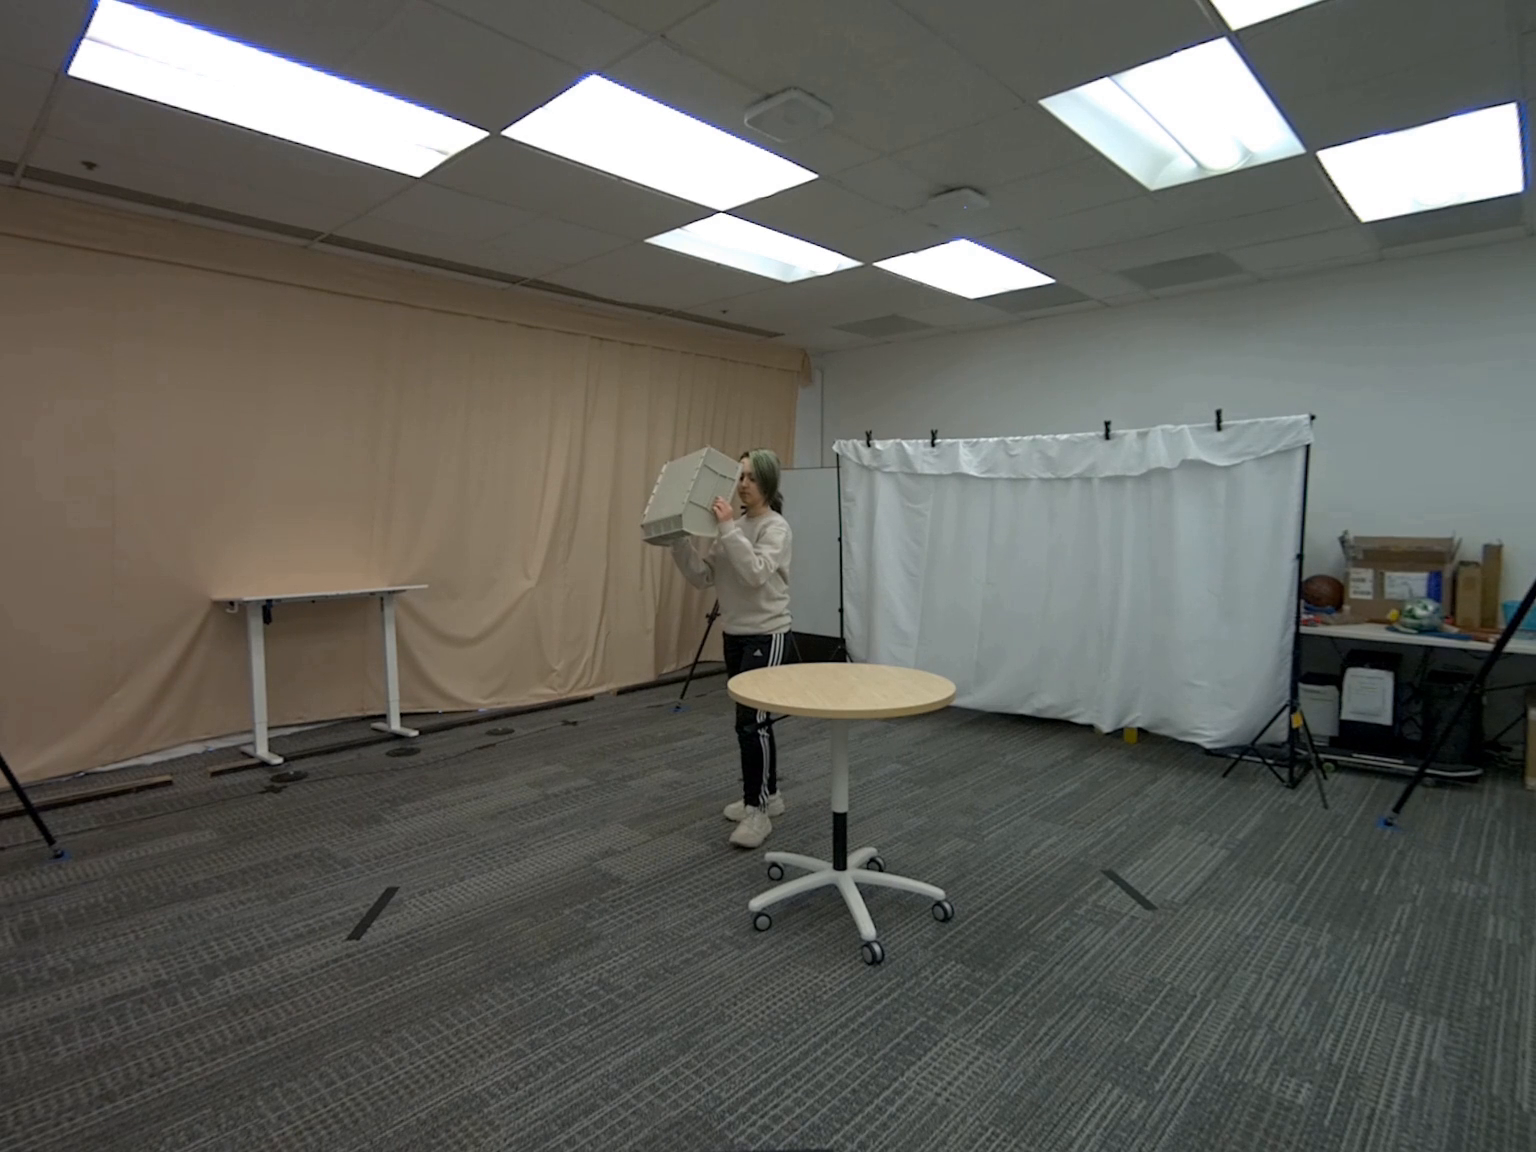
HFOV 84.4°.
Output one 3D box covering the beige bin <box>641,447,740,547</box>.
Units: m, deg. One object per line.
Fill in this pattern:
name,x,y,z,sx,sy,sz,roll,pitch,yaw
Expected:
beige bin,-0.334,-0.315,3.531,0.183,0.379,0.433,26,-17,-27
